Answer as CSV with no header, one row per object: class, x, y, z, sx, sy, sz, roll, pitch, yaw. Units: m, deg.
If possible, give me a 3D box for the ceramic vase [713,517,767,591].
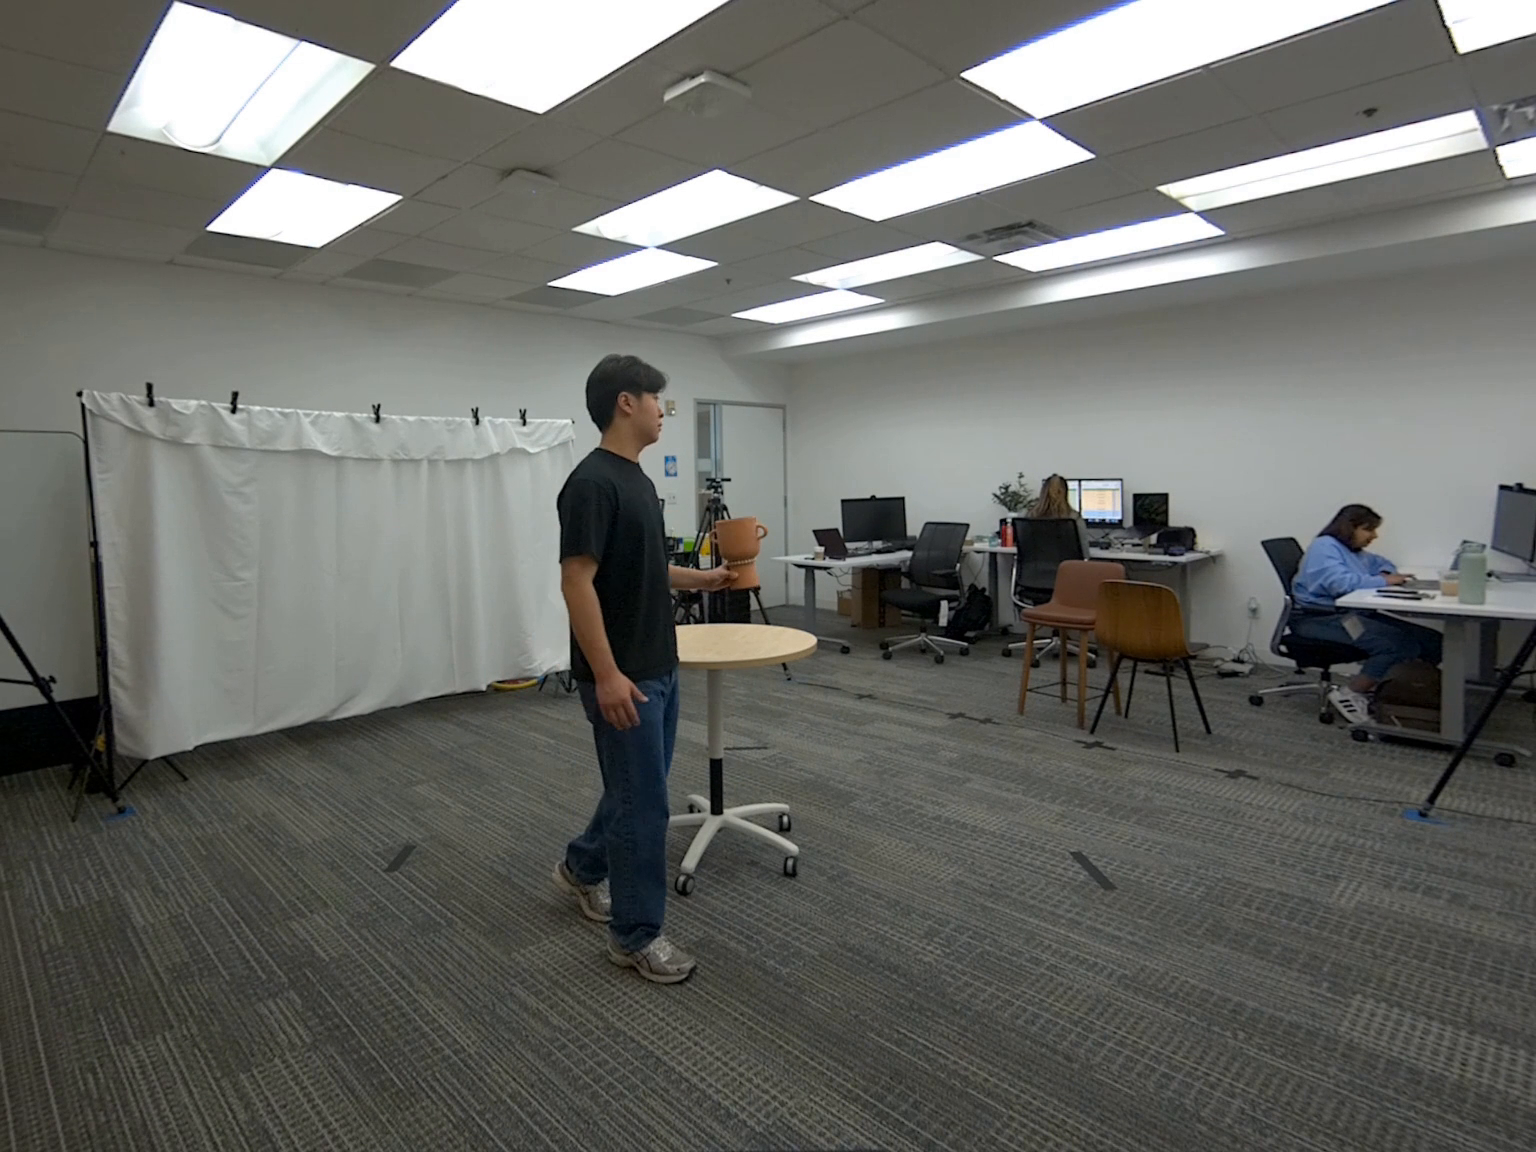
ceramic vase,-0.086,-0.073,2.729,0.132,0.219,0.163,-9,4,-33
